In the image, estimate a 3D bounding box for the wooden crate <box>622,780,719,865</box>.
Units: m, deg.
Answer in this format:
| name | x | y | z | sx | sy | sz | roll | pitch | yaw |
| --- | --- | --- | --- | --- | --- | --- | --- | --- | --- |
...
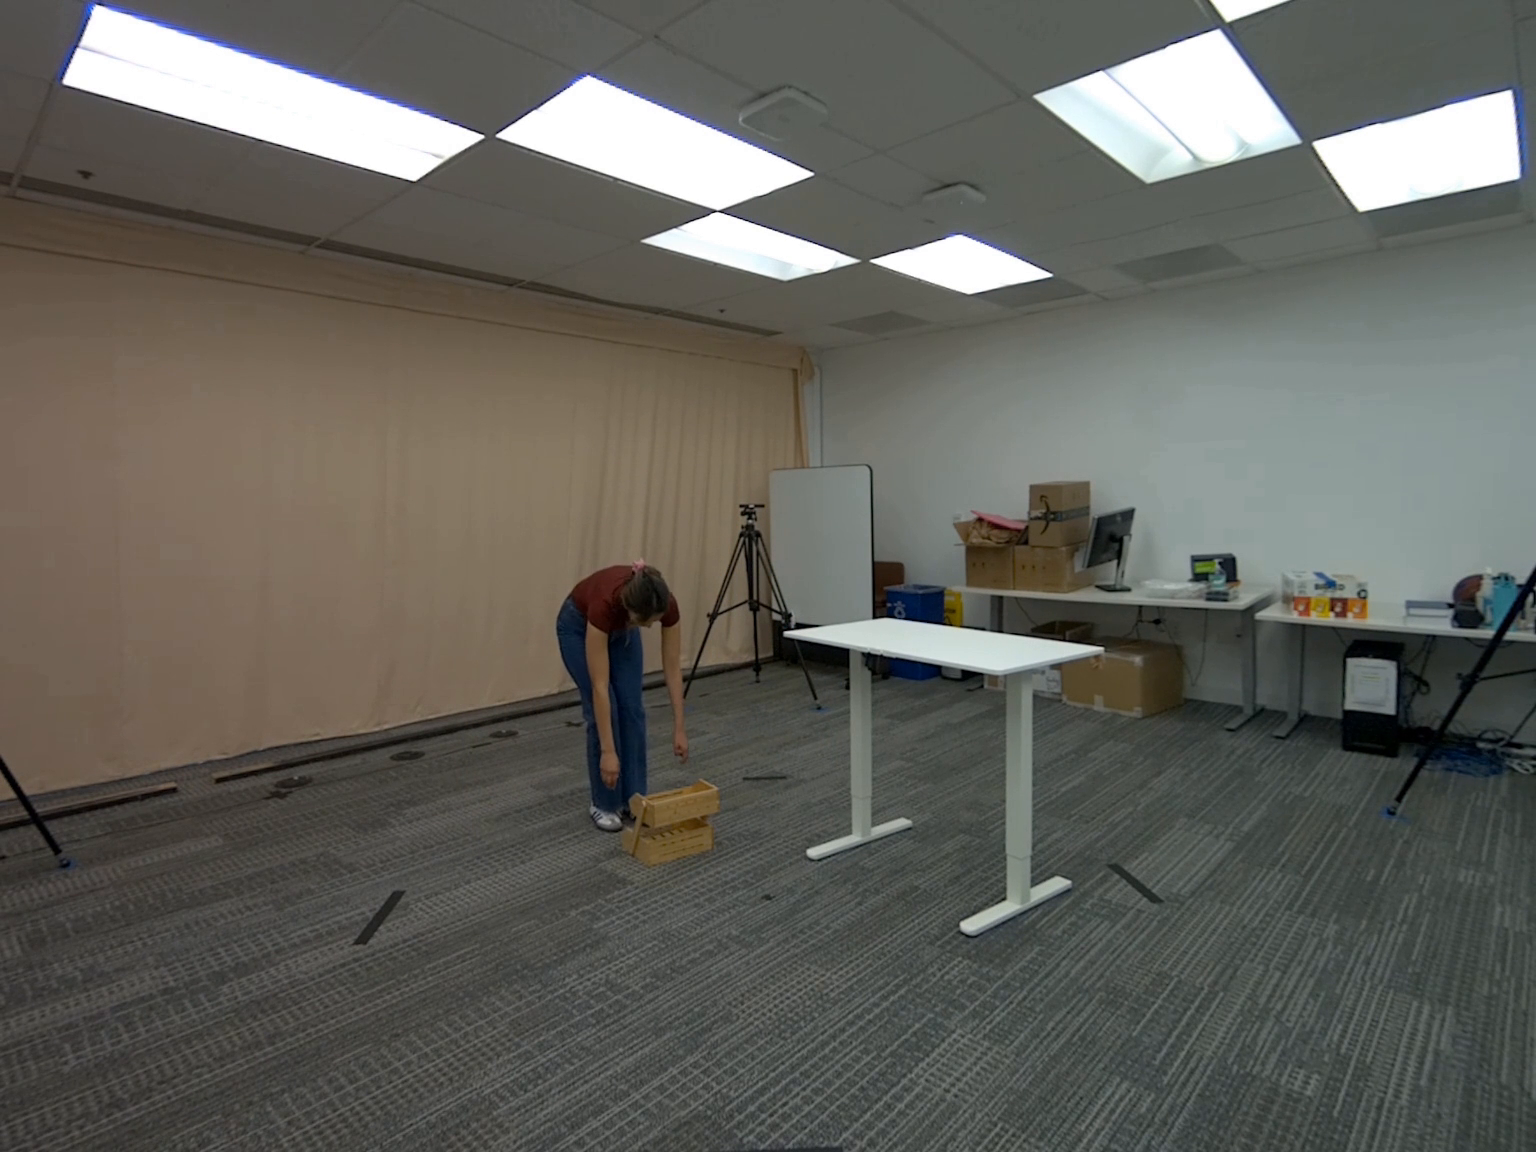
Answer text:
| name | x | y | z | sx | sy | sz | roll | pitch | yaw |
| --- | --- | --- | --- | --- | --- | --- | --- | --- | --- |
| wooden crate | -0.403 | 0.975 | 3.417 | 0.315 | 0.272 | 0.311 | -4 | 5 | -33 |
